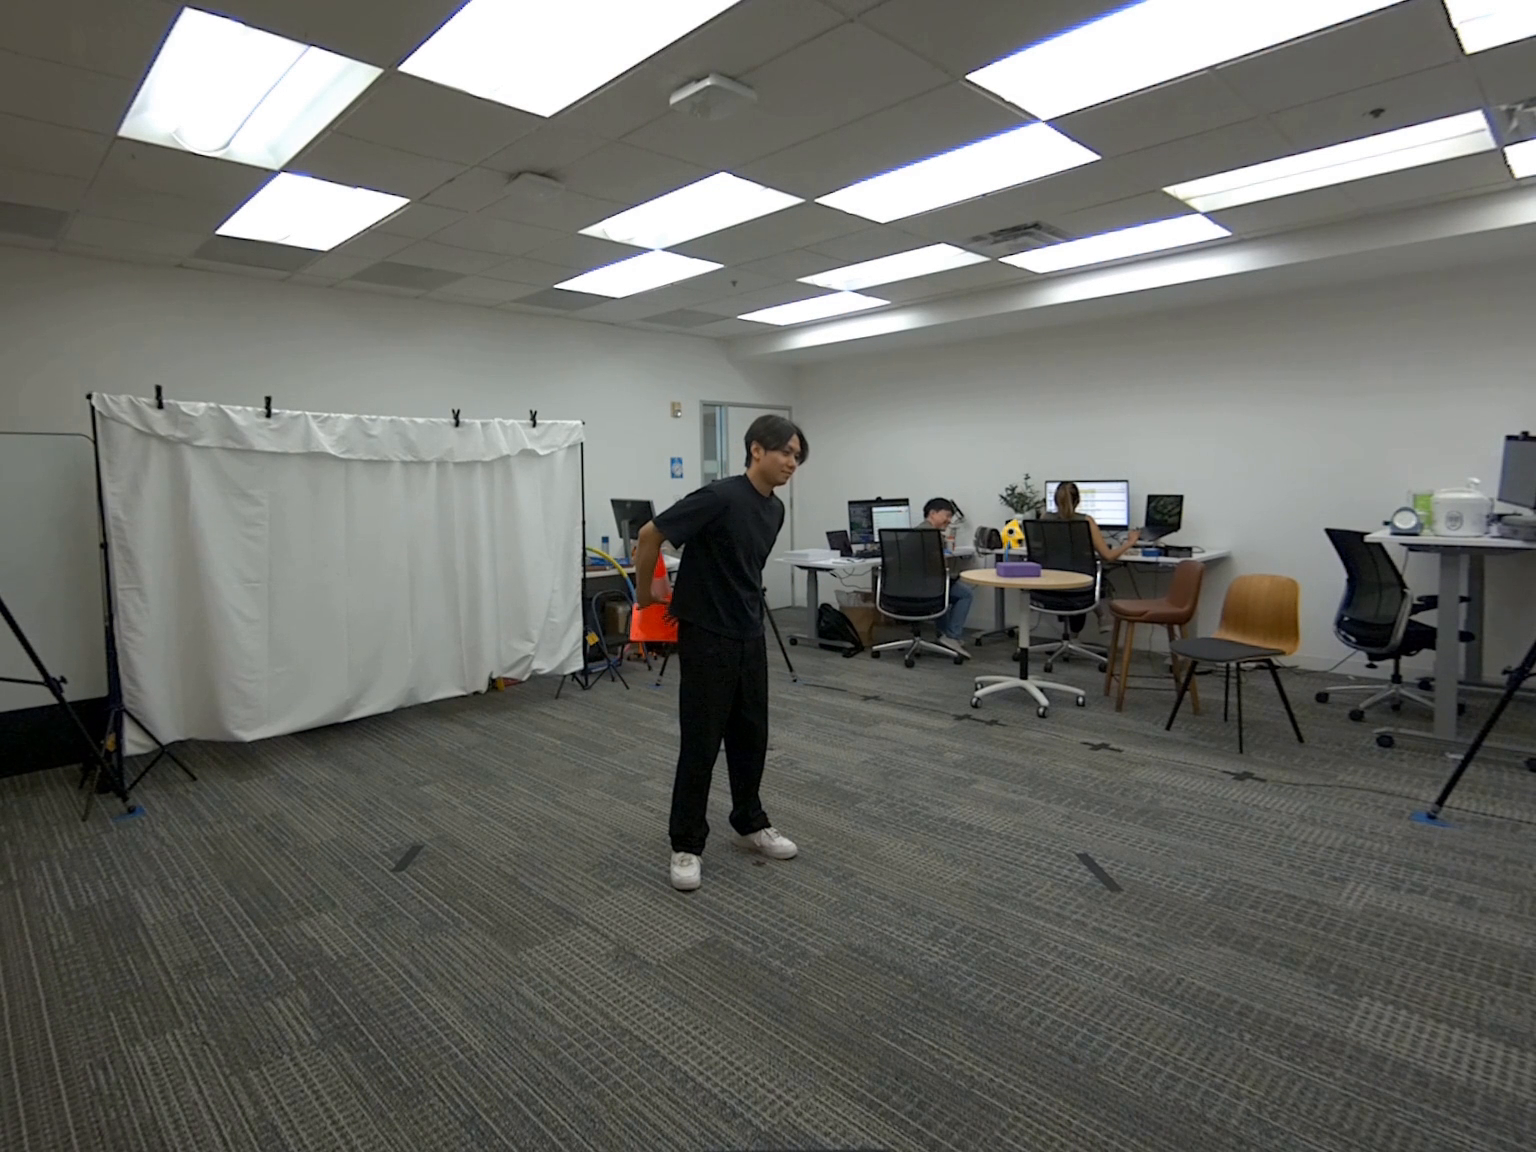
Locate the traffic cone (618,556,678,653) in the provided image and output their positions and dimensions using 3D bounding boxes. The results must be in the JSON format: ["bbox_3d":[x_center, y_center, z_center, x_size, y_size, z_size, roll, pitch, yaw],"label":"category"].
[{"bbox_3d":[-0.409,0.039,3.166,0.202,0.374,0.211,-2,40,-6],"label":"traffic cone"}]
